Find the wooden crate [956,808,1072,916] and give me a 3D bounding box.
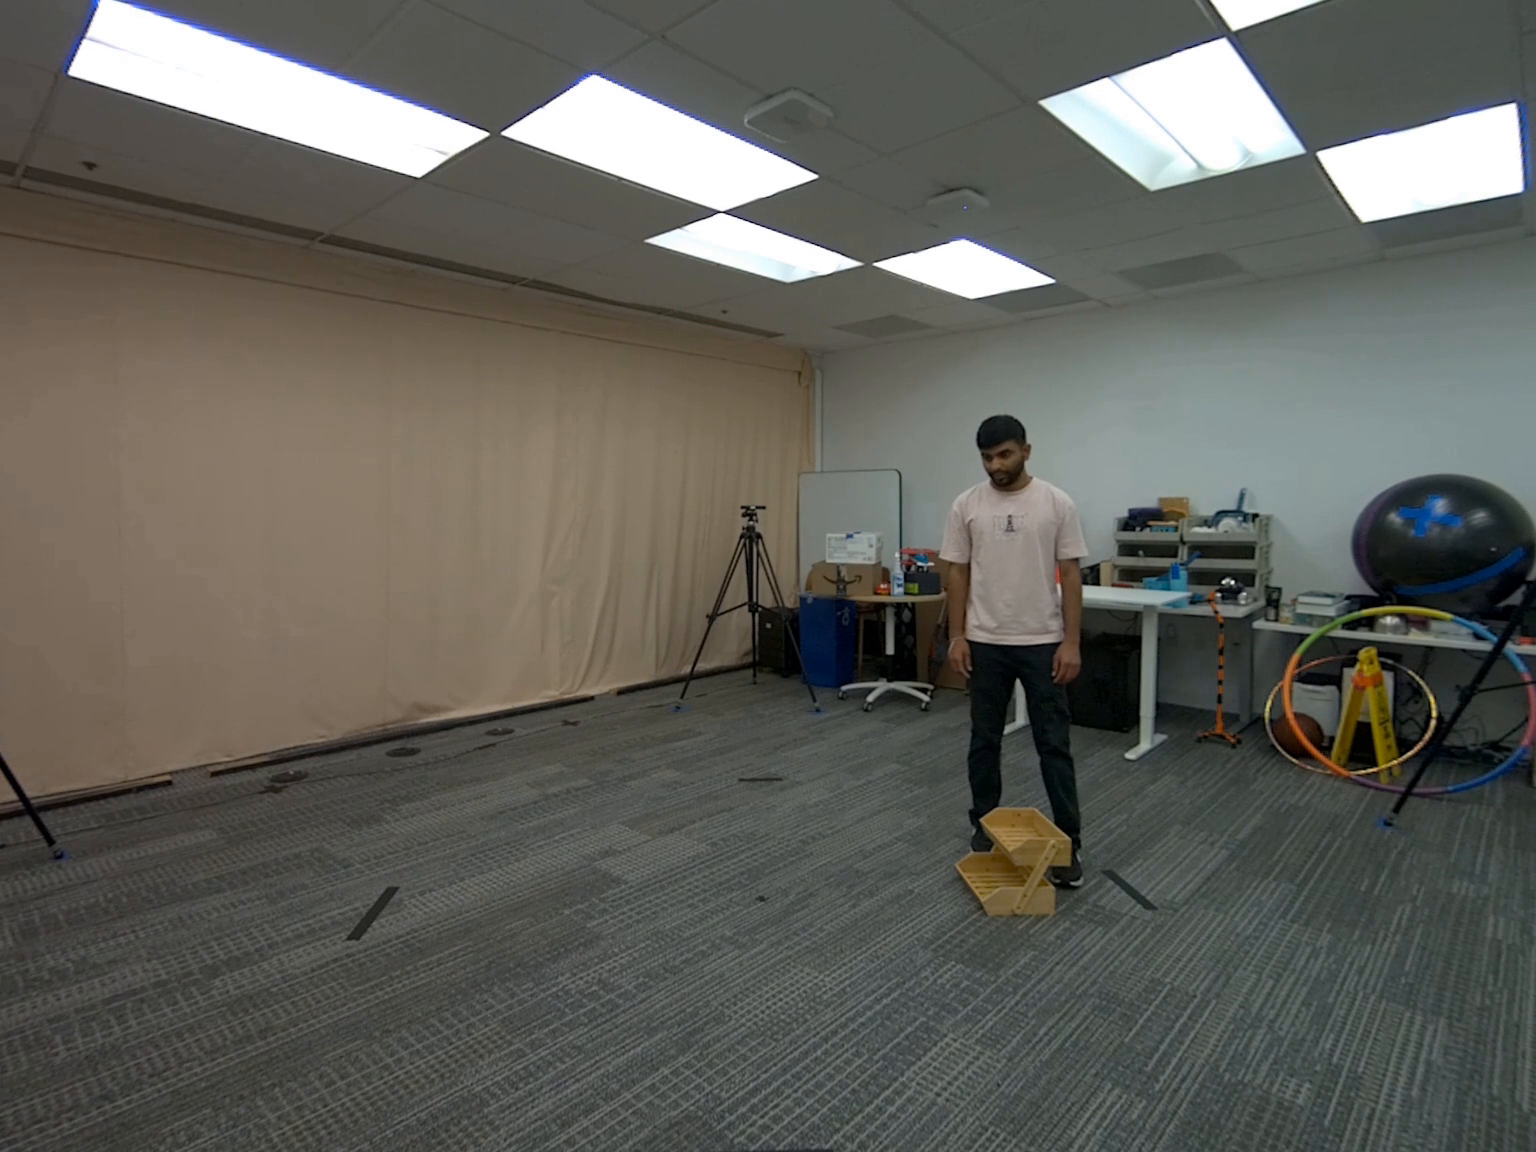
[{"bbox_3d":[0.862,1.003,3.004,0.301,0.273,0.326,1,3,-5],"label":"wooden crate"}]
